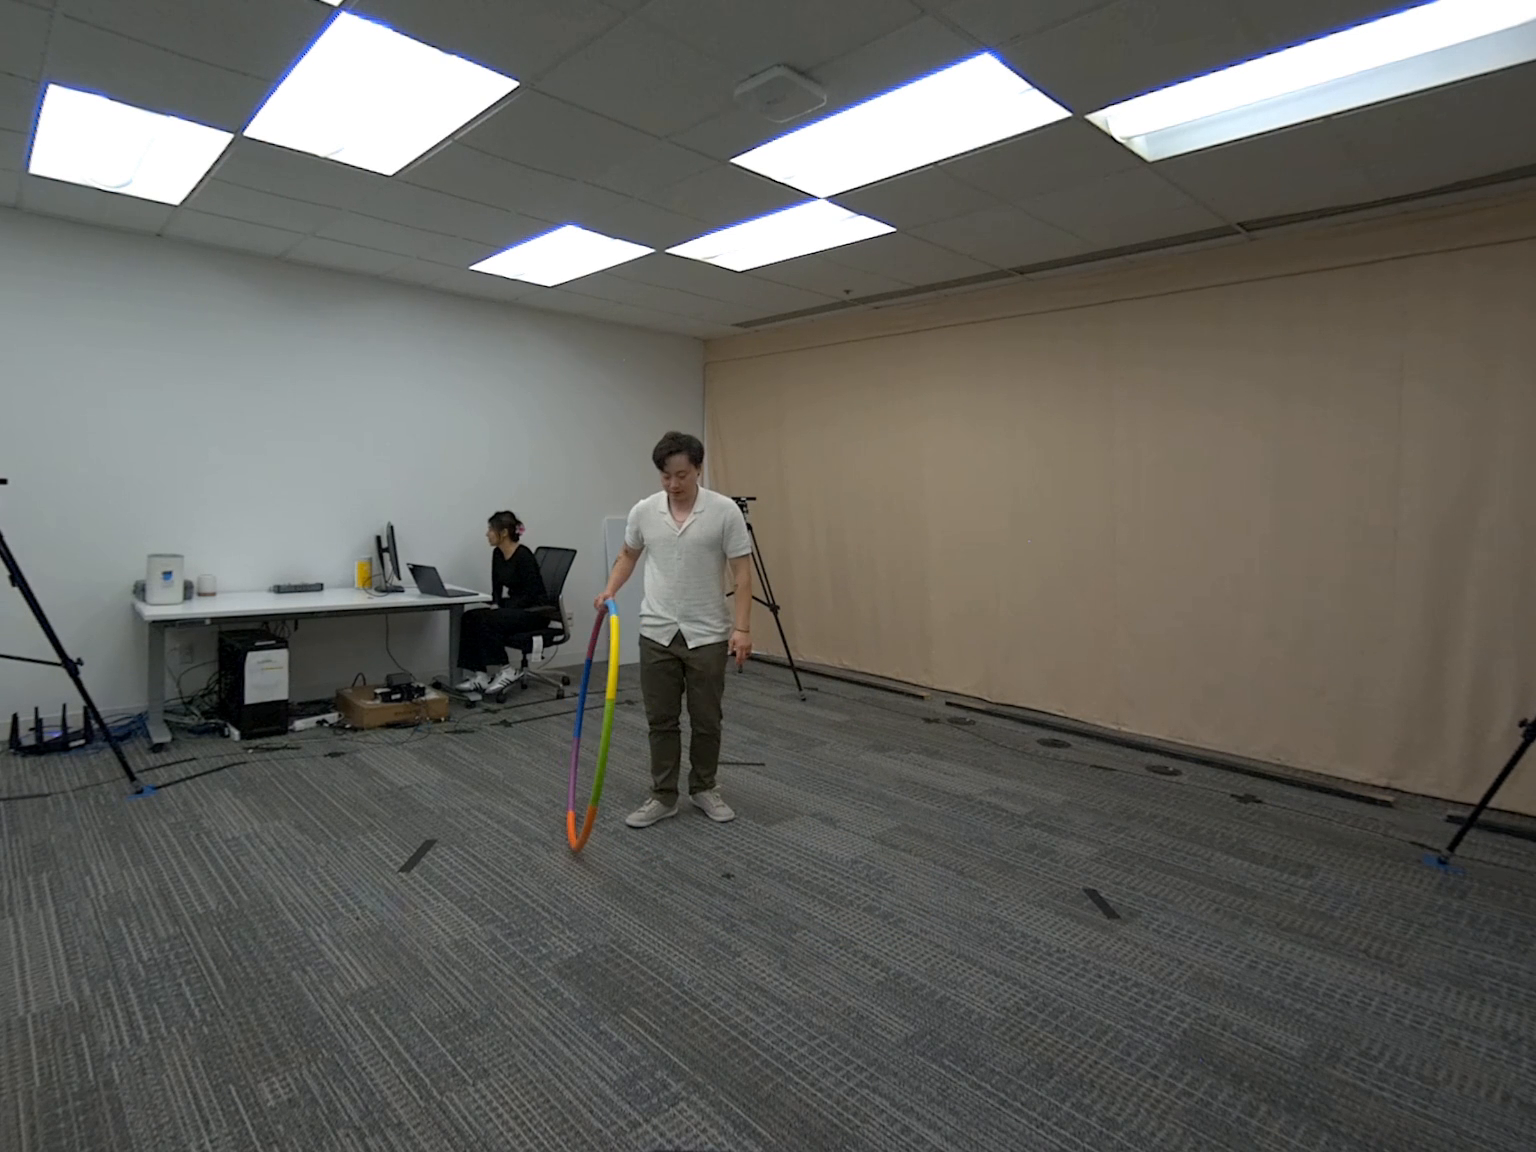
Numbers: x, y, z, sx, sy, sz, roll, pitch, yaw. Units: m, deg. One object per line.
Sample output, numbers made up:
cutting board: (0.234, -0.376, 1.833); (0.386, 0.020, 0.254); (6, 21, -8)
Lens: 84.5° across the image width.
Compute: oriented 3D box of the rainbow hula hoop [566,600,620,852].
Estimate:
rainbow hula hoop: (-0.709, 0.588, 3.366); (0.035, 0.978, 0.993); (9, 2, -17)
